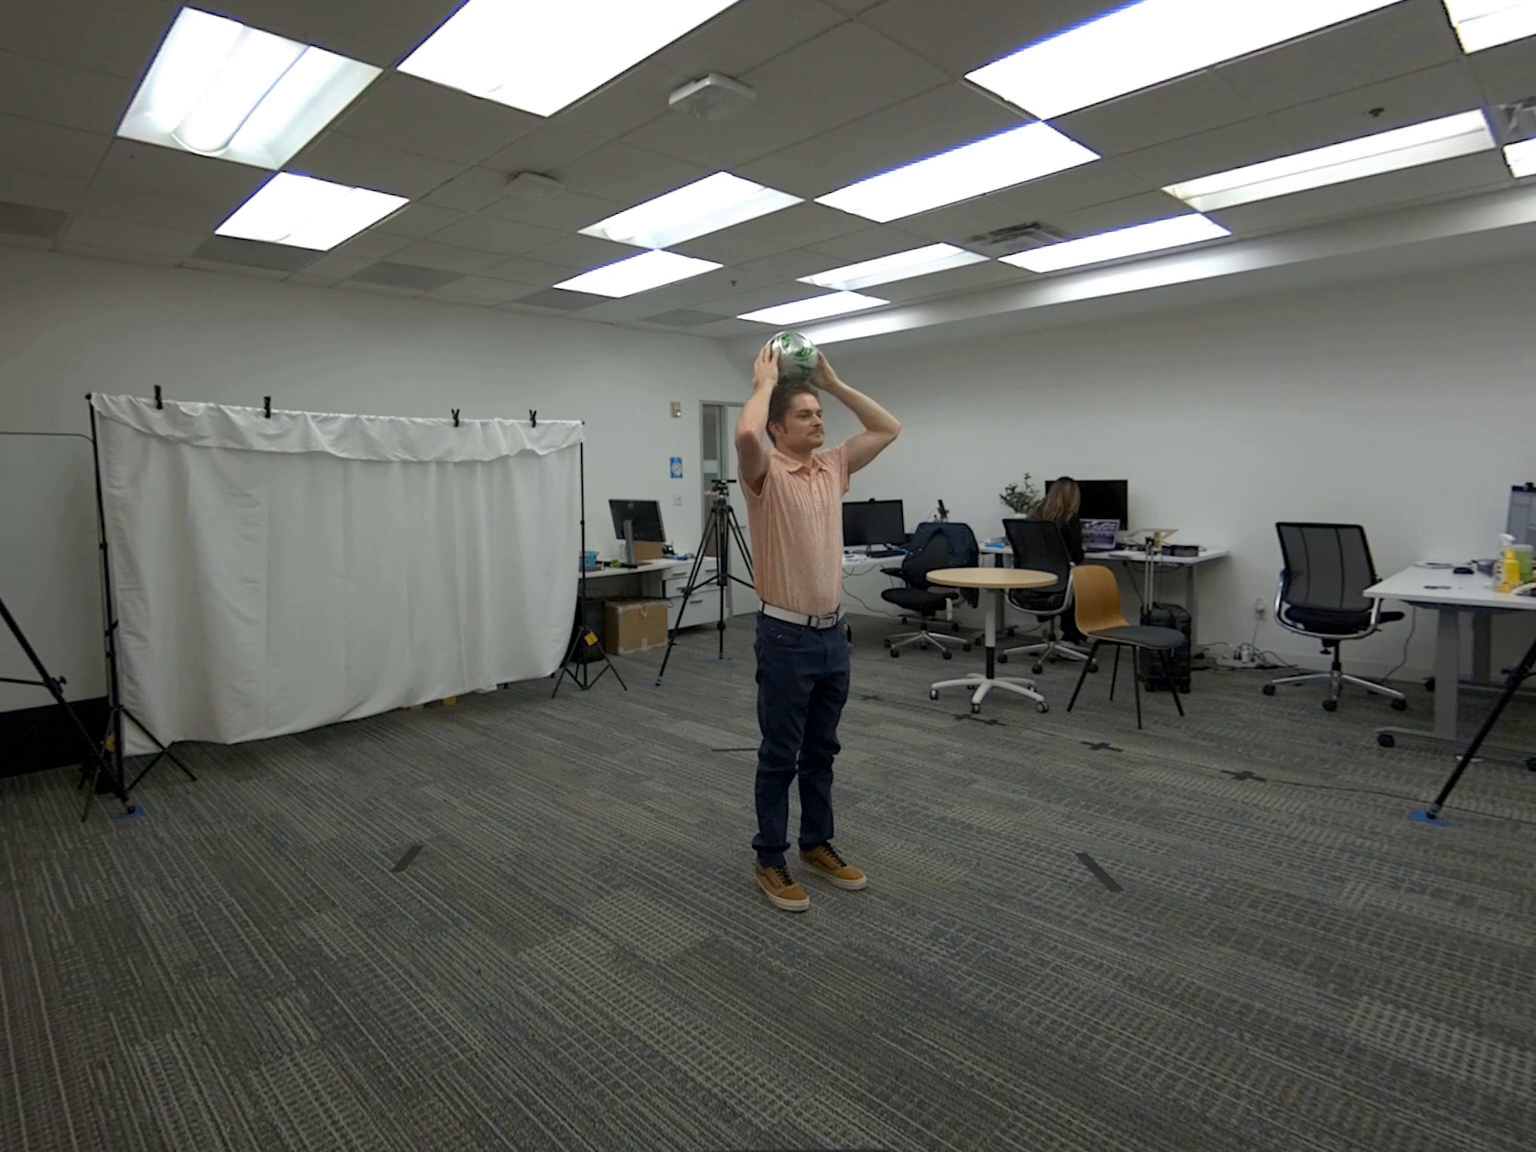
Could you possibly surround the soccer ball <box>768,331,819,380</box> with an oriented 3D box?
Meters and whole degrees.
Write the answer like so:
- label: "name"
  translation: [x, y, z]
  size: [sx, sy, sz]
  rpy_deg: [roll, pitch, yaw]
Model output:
- label: "soccer ball"
  translation: [0.080, -0.728, 2.870]
  size: [0.187, 0.187, 0.188]
  rpy_deg: [-1, 5, -2]
